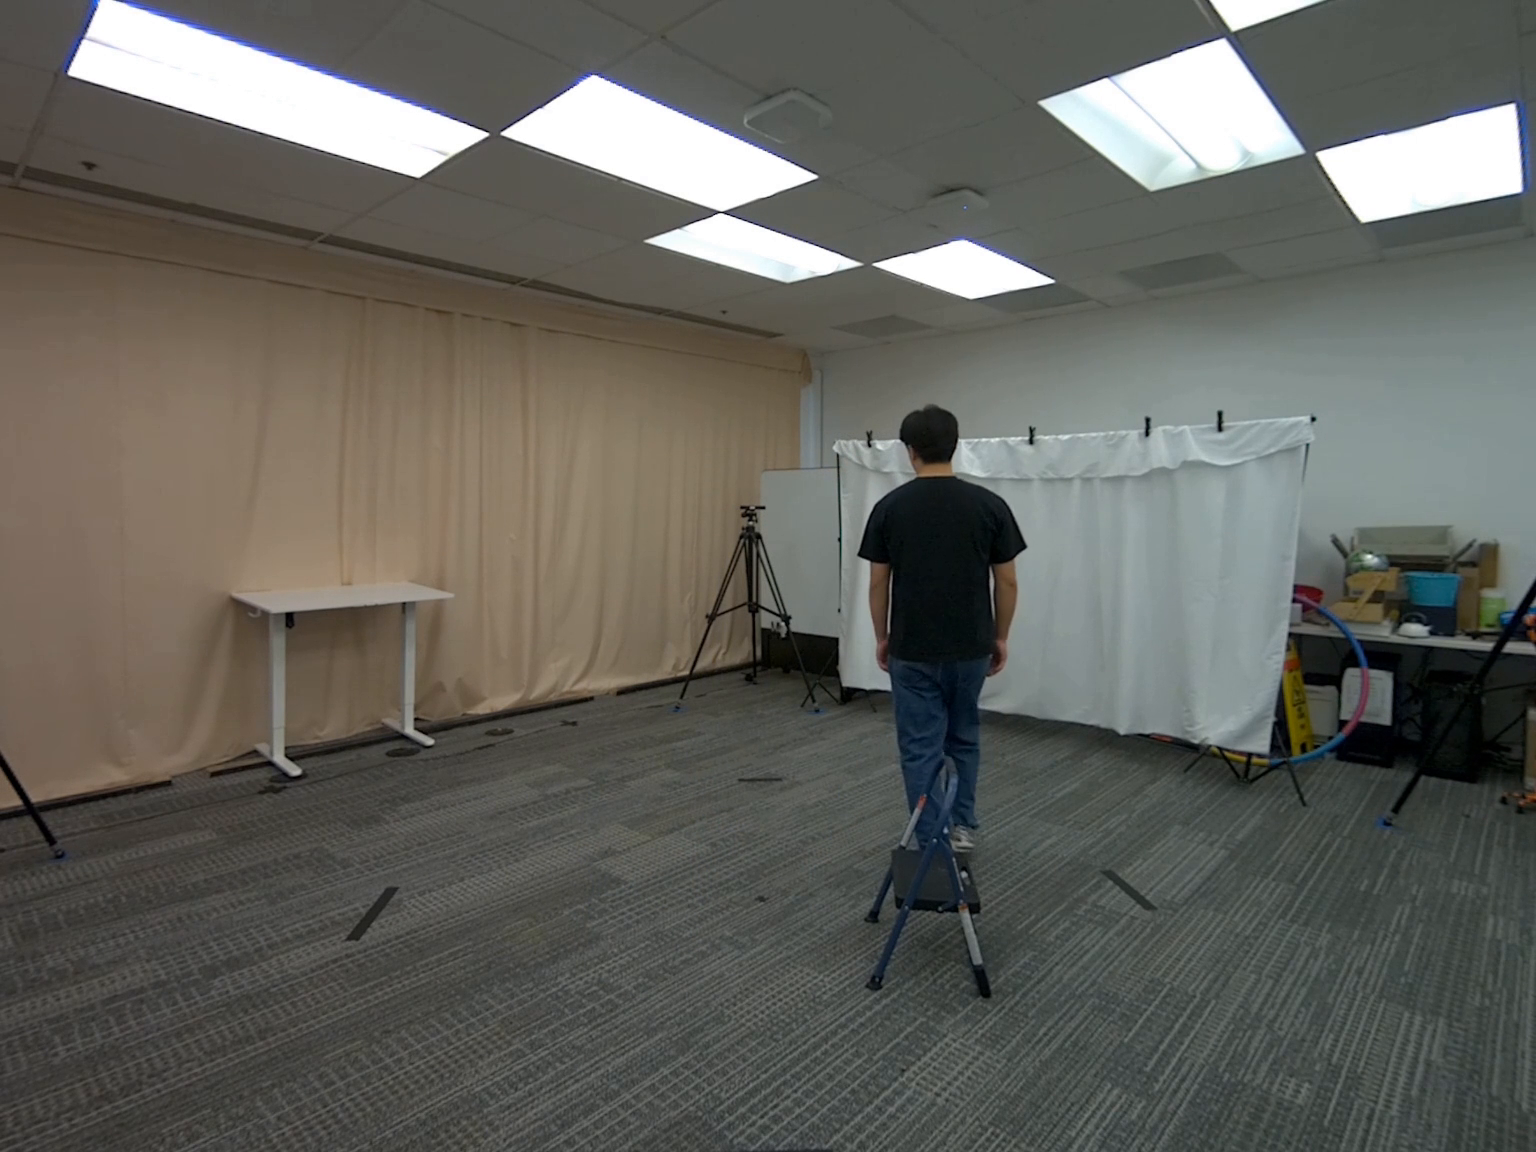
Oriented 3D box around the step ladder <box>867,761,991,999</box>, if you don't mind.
[{"bbox_3d":[0.486,0.874,2.587,0.352,0.604,0.428,0,4,7],"label":"step ladder"}]
